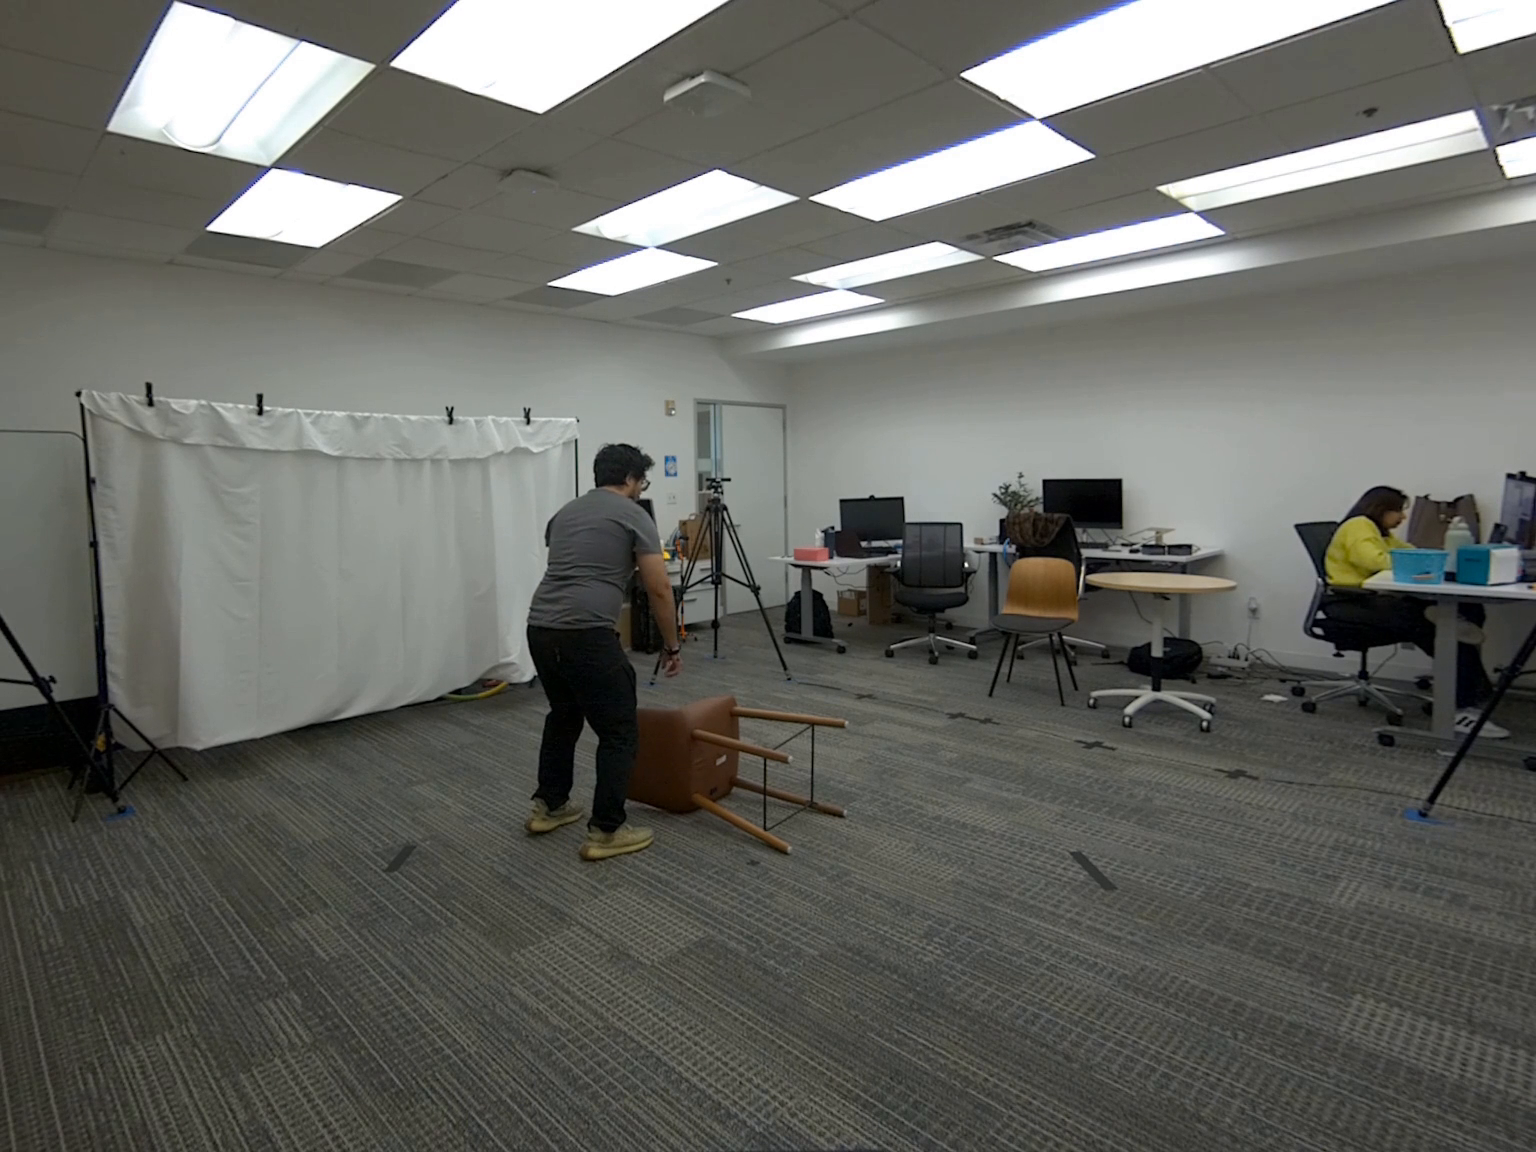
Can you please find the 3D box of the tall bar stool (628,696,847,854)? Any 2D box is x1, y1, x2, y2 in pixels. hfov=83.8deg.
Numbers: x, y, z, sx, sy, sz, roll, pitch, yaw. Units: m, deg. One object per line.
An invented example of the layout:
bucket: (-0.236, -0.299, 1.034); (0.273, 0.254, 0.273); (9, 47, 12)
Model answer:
tall bar stool: (-0.161, 0.779, 3.577); (0.916, 0.453, 0.457); (5, 10, 34)
